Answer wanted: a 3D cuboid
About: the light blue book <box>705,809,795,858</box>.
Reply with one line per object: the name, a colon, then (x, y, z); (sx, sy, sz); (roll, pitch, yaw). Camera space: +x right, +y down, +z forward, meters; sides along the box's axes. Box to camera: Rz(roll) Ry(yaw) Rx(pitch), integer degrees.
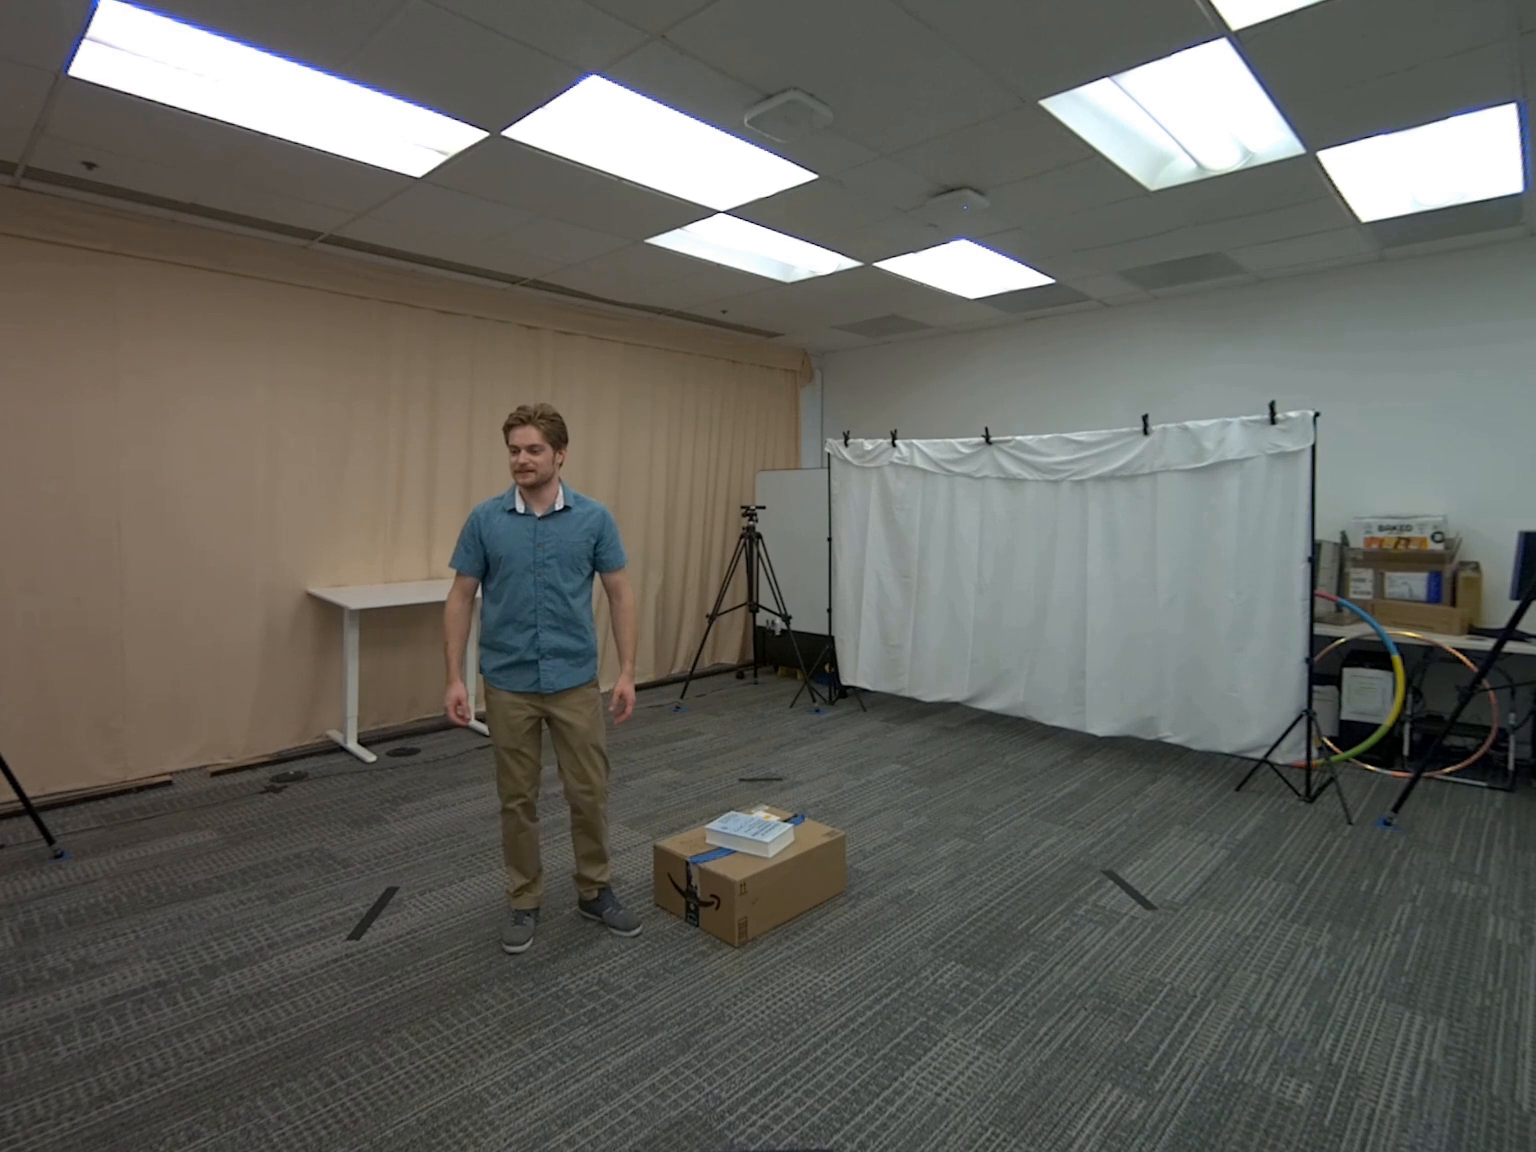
light blue book: (-0.060, 0.904, 2.964); (0.269, 0.059, 0.186); (2, 6, 31)
